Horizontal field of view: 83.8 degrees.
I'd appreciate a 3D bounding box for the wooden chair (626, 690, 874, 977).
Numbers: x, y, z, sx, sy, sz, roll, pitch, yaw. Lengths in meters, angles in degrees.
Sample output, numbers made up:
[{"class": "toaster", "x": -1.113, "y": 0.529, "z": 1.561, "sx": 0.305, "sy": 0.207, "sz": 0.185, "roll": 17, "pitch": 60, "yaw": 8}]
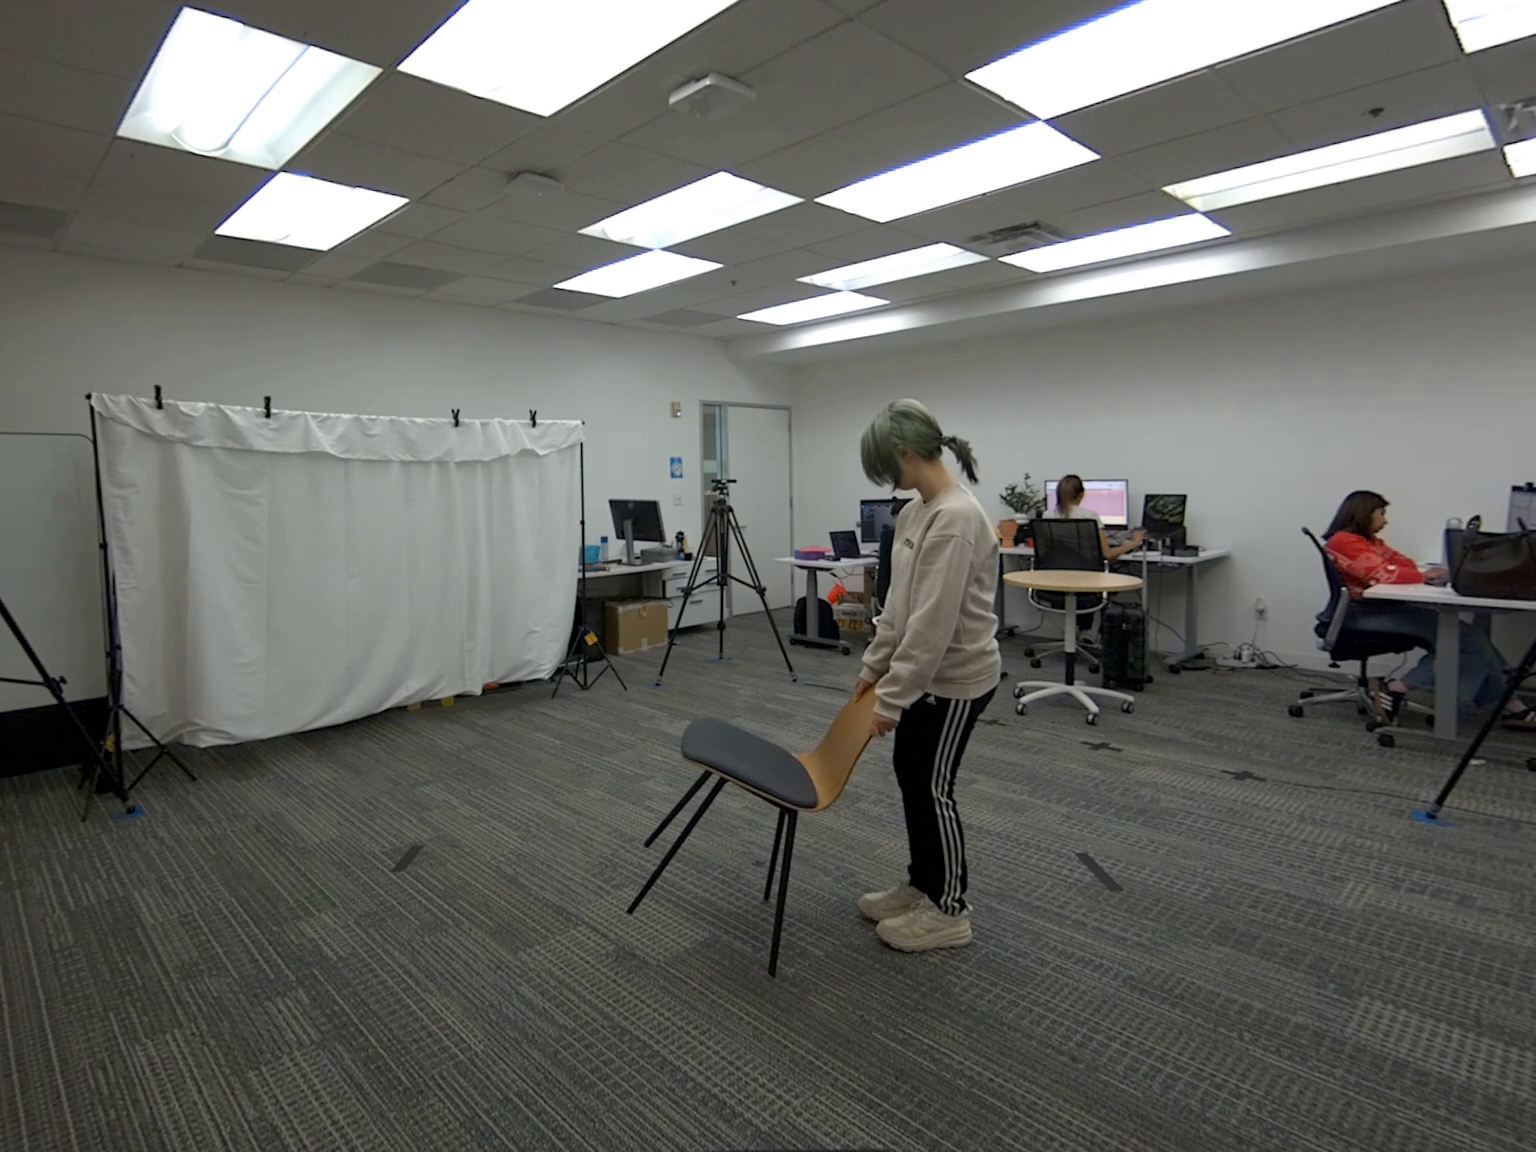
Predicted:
[{"class": "wooden chair", "x": -0.029, "y": 0.618, "z": 2.586, "sx": 0.522, "sy": 0.876, "sz": 0.480, "roll": 29, "pitch": 4, "yaw": -3}]
